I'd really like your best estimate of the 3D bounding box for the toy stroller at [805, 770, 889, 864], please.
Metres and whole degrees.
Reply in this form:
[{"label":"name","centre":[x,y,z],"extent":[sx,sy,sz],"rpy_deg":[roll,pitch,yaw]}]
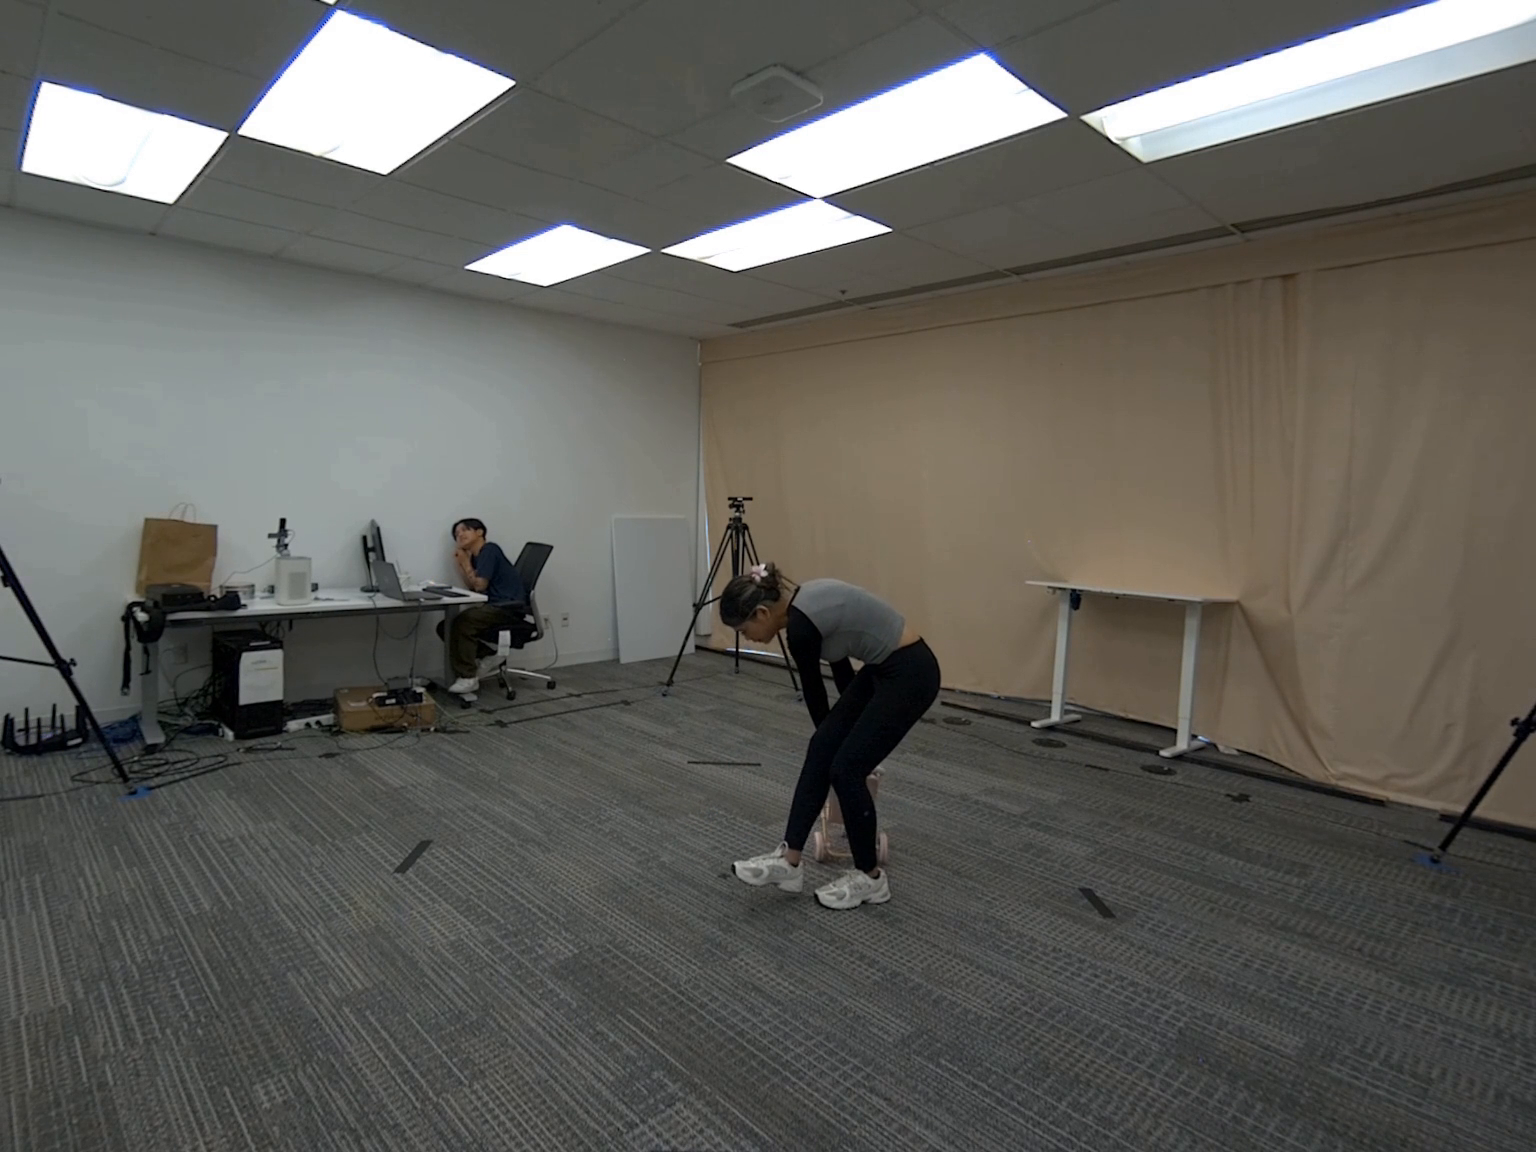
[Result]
[{"label":"toy stroller","centre":[0.323,0.878,3.315],"extent":[0.283,0.528,0.344],"rpy_deg":[2,19,4]}]
